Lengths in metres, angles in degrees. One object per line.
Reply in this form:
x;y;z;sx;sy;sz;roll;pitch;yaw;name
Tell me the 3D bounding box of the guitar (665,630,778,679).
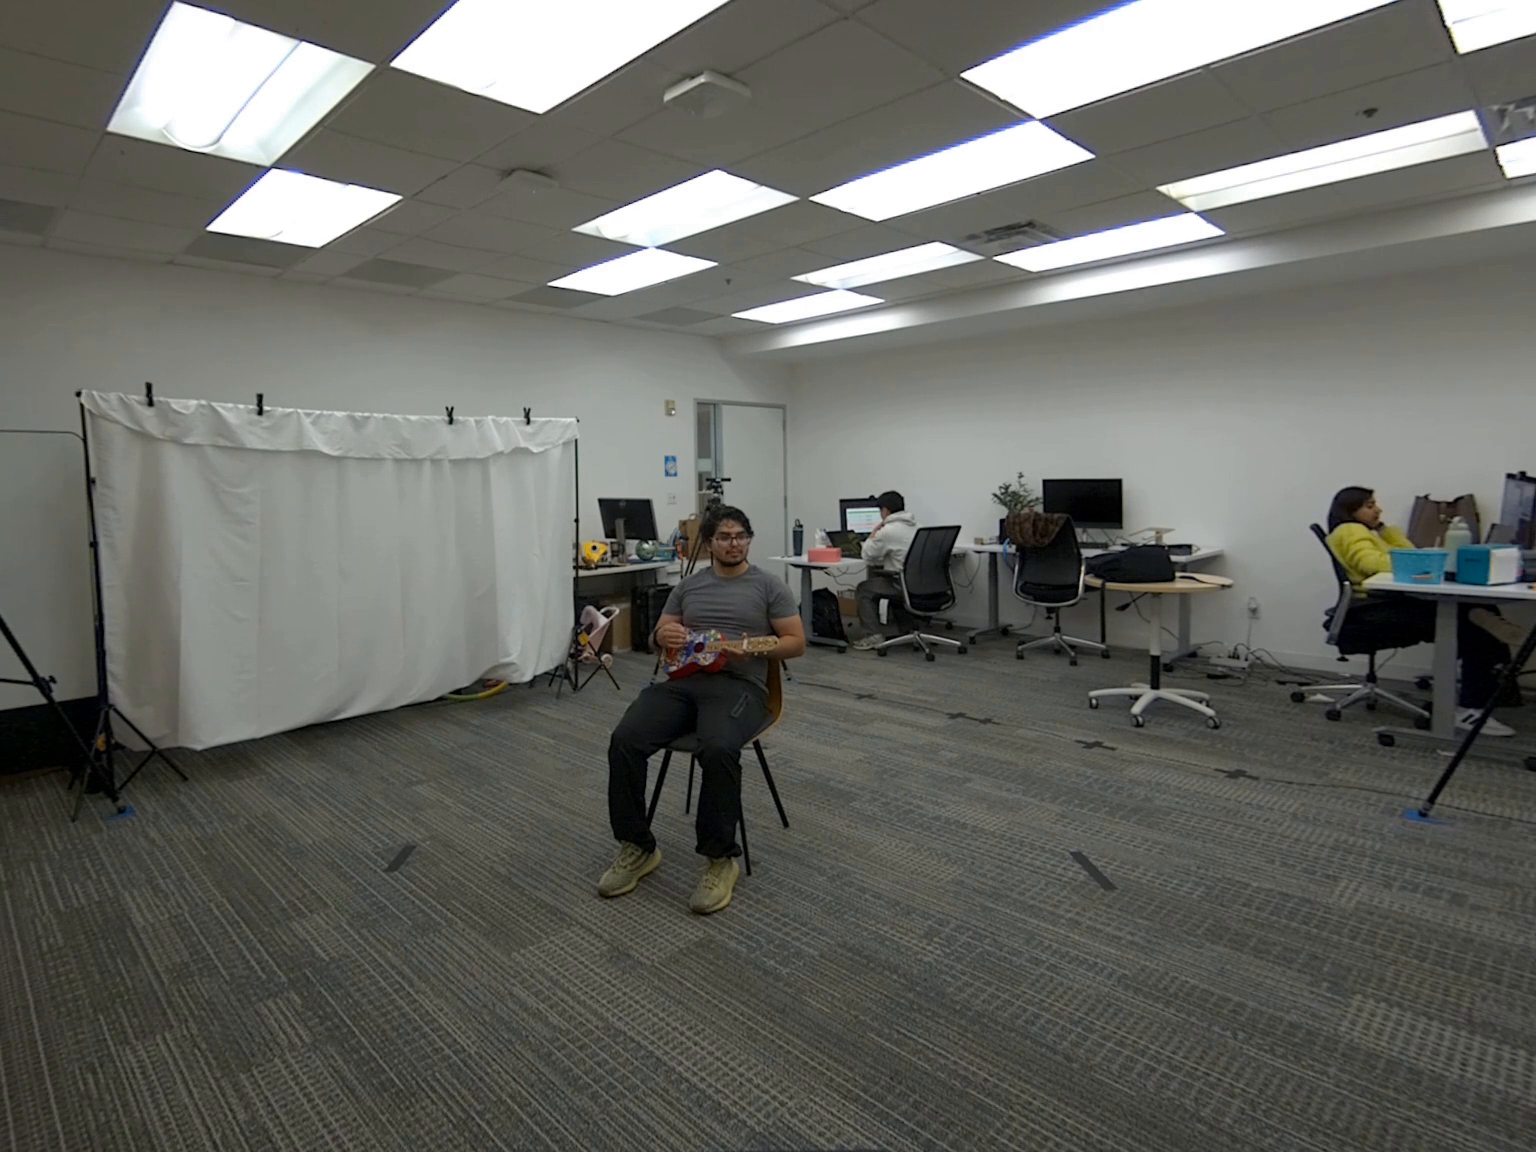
-0.193;0.295;3.124;0.512;0.195;0.068;3;-30;33;guitar
